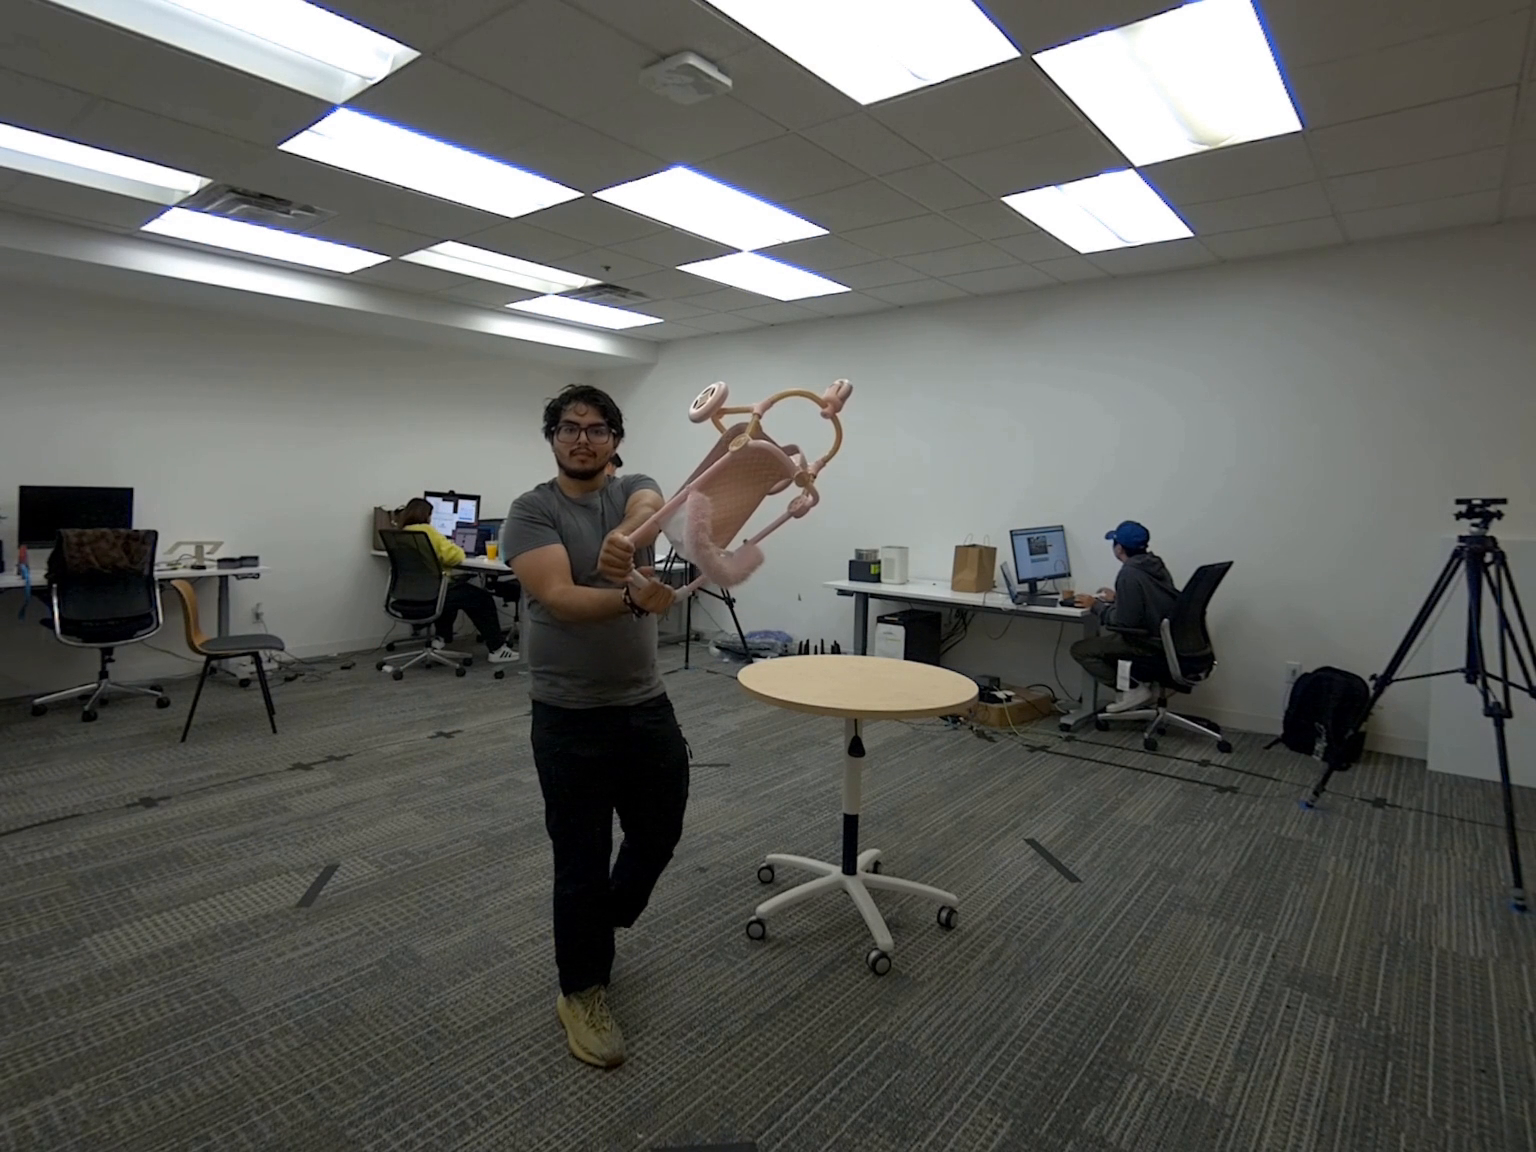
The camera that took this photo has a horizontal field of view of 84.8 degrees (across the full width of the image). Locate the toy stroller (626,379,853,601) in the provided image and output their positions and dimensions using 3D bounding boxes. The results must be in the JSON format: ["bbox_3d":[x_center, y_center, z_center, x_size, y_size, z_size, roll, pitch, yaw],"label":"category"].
[{"bbox_3d":[-0.049,-0.187,1.770,0.352,0.539,0.271,0,-39,45],"label":"toy stroller"}]
